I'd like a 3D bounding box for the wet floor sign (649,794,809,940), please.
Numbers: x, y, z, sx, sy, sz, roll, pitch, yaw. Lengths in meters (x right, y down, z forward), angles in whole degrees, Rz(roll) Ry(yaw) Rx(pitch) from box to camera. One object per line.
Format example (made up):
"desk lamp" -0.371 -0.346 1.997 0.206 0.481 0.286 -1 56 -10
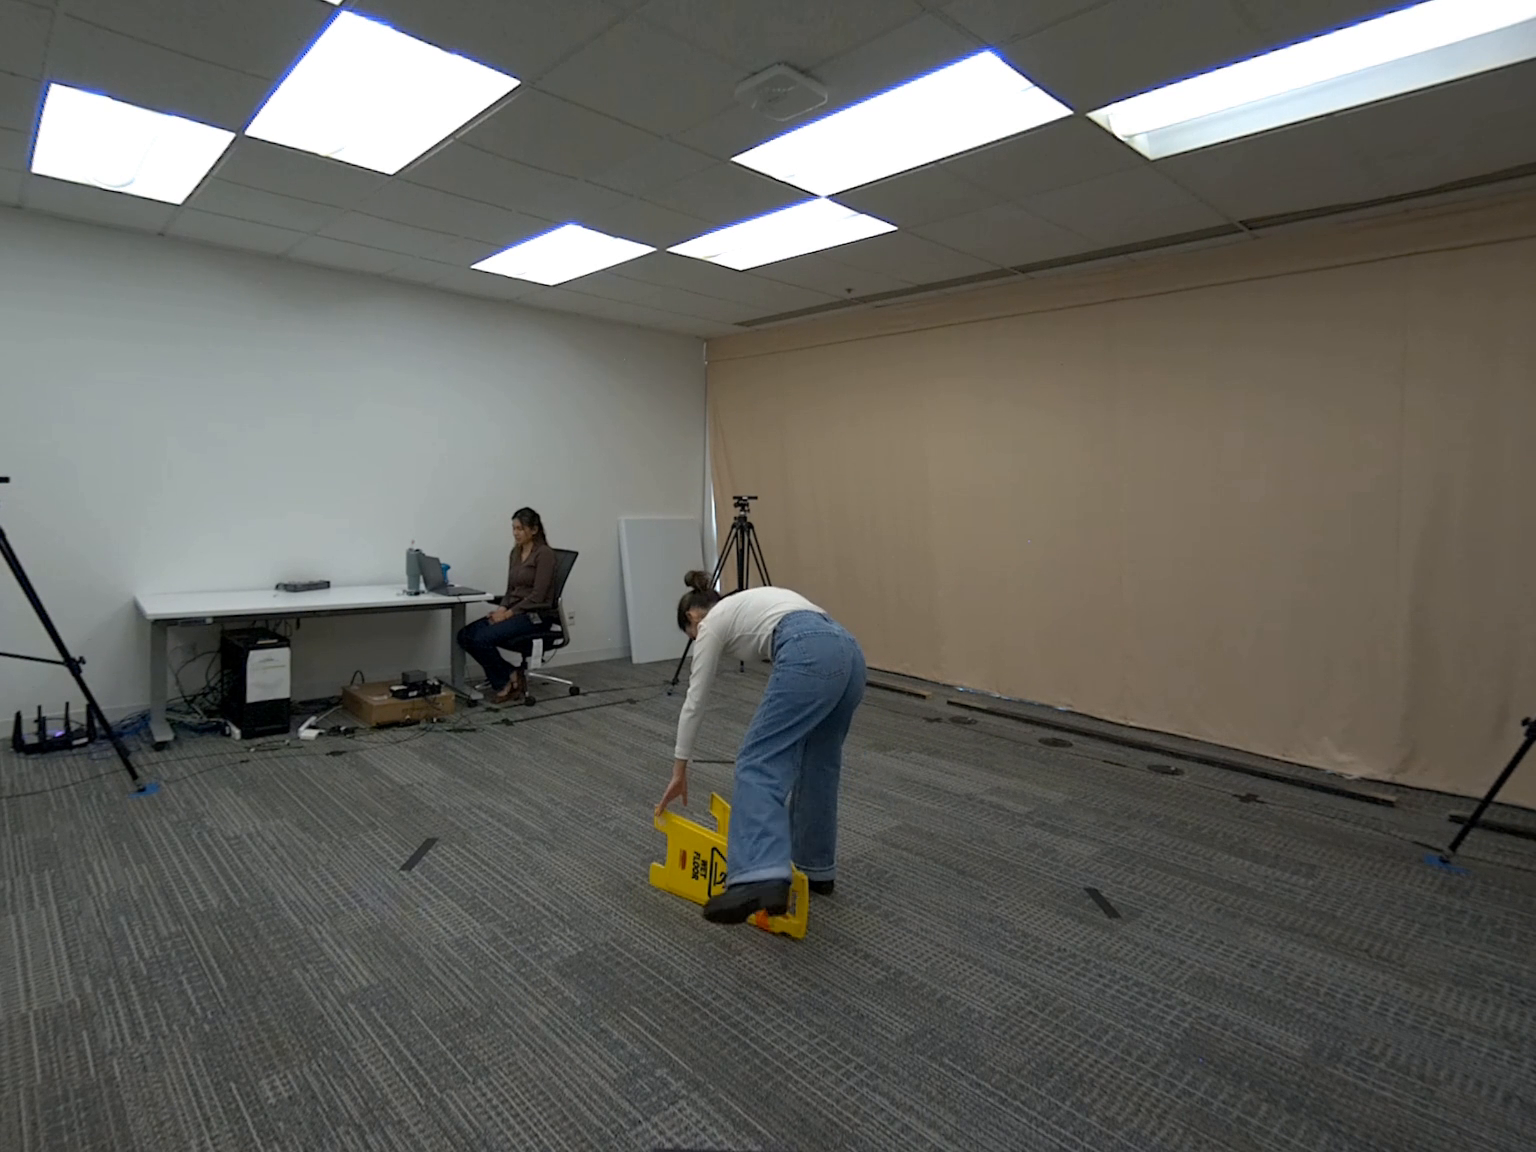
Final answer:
"wet floor sign" -0.107 0.999 2.857 0.283 0.281 0.663 -2 7 -41
